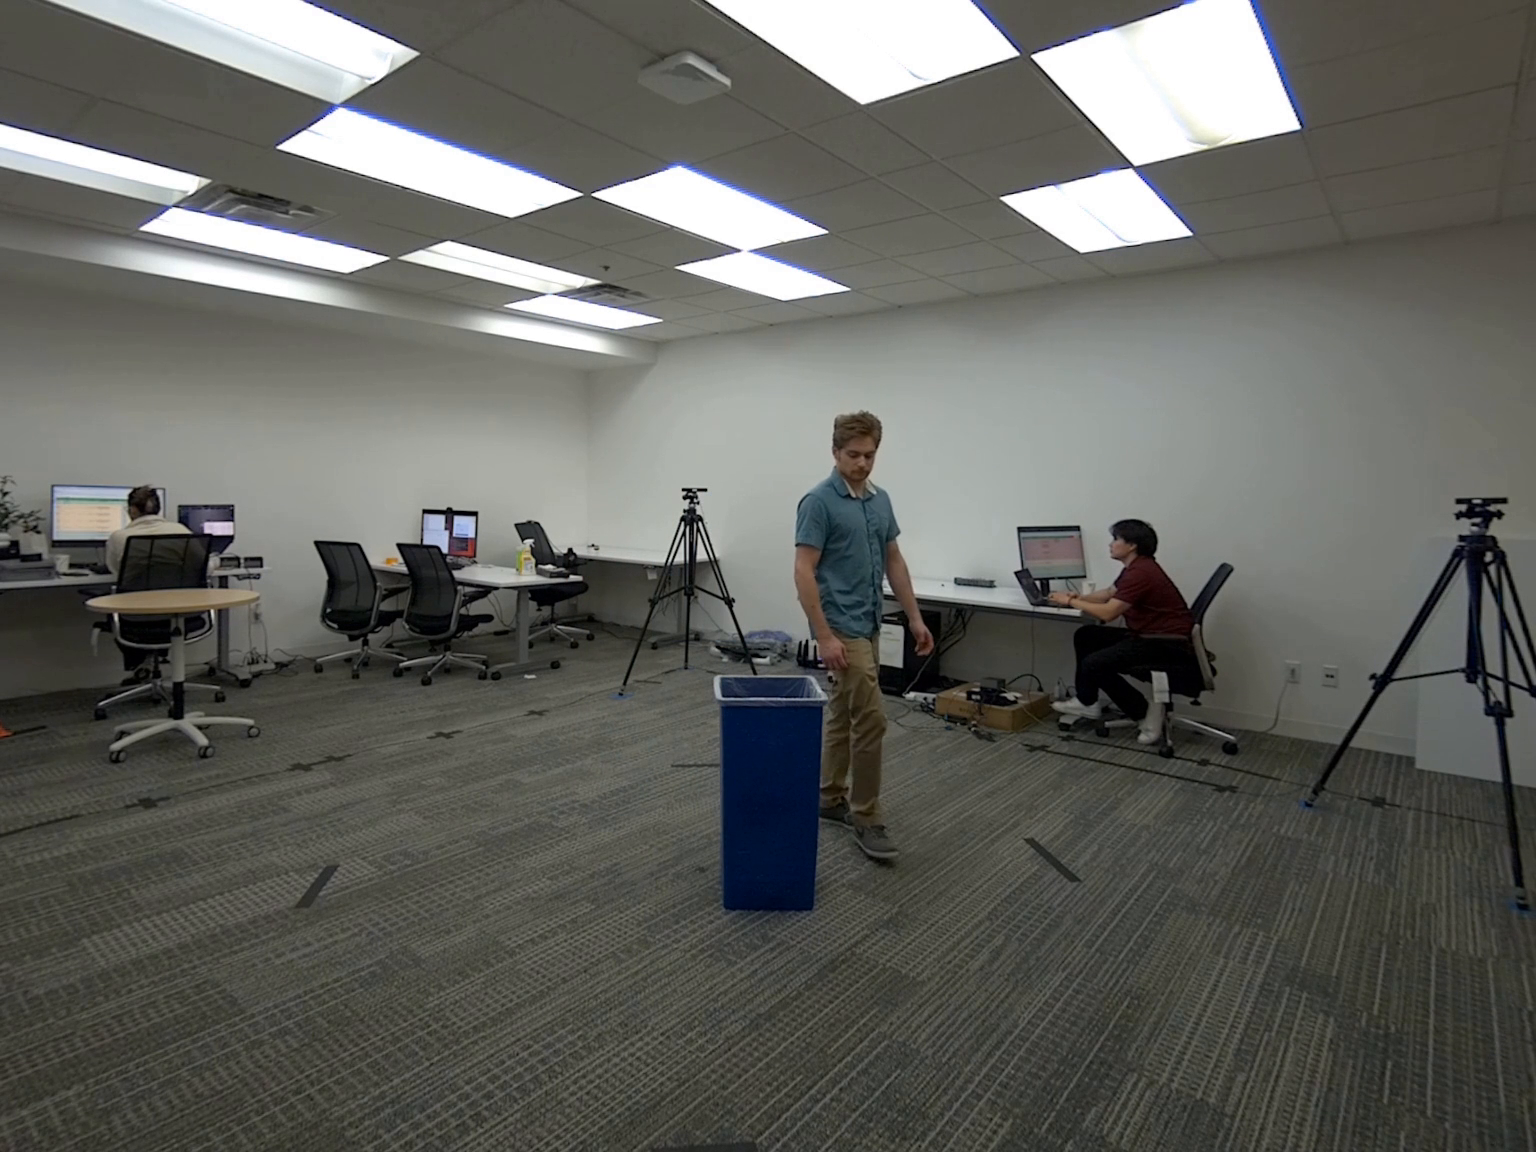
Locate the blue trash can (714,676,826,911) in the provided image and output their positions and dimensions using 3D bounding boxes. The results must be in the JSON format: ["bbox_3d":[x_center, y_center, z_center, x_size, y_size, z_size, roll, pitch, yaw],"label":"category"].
[{"bbox_3d":[-0.014,0.732,2.953,0.377,0.711,0.377,0,4,-4],"label":"blue trash can"}]
